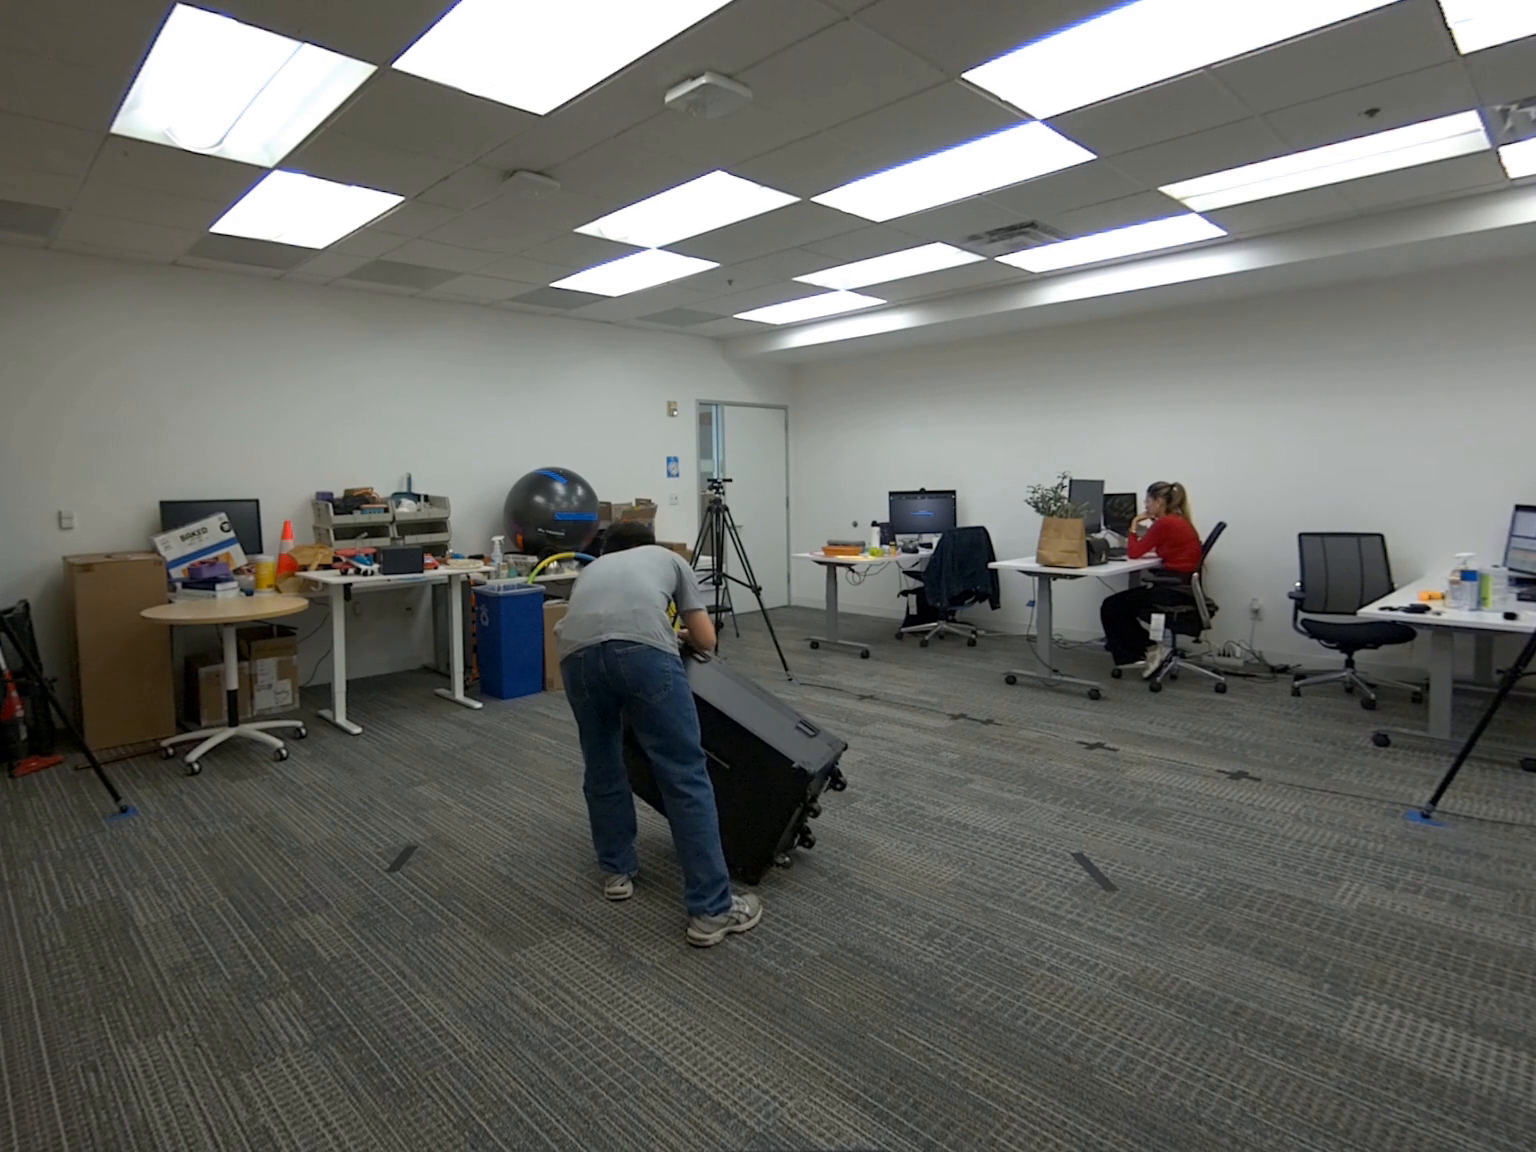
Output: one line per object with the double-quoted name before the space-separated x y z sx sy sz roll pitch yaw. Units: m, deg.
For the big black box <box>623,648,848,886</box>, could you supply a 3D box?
"big black box" -0.166 0.661 3.143 0.884 0.518 0.388 31 18 21
